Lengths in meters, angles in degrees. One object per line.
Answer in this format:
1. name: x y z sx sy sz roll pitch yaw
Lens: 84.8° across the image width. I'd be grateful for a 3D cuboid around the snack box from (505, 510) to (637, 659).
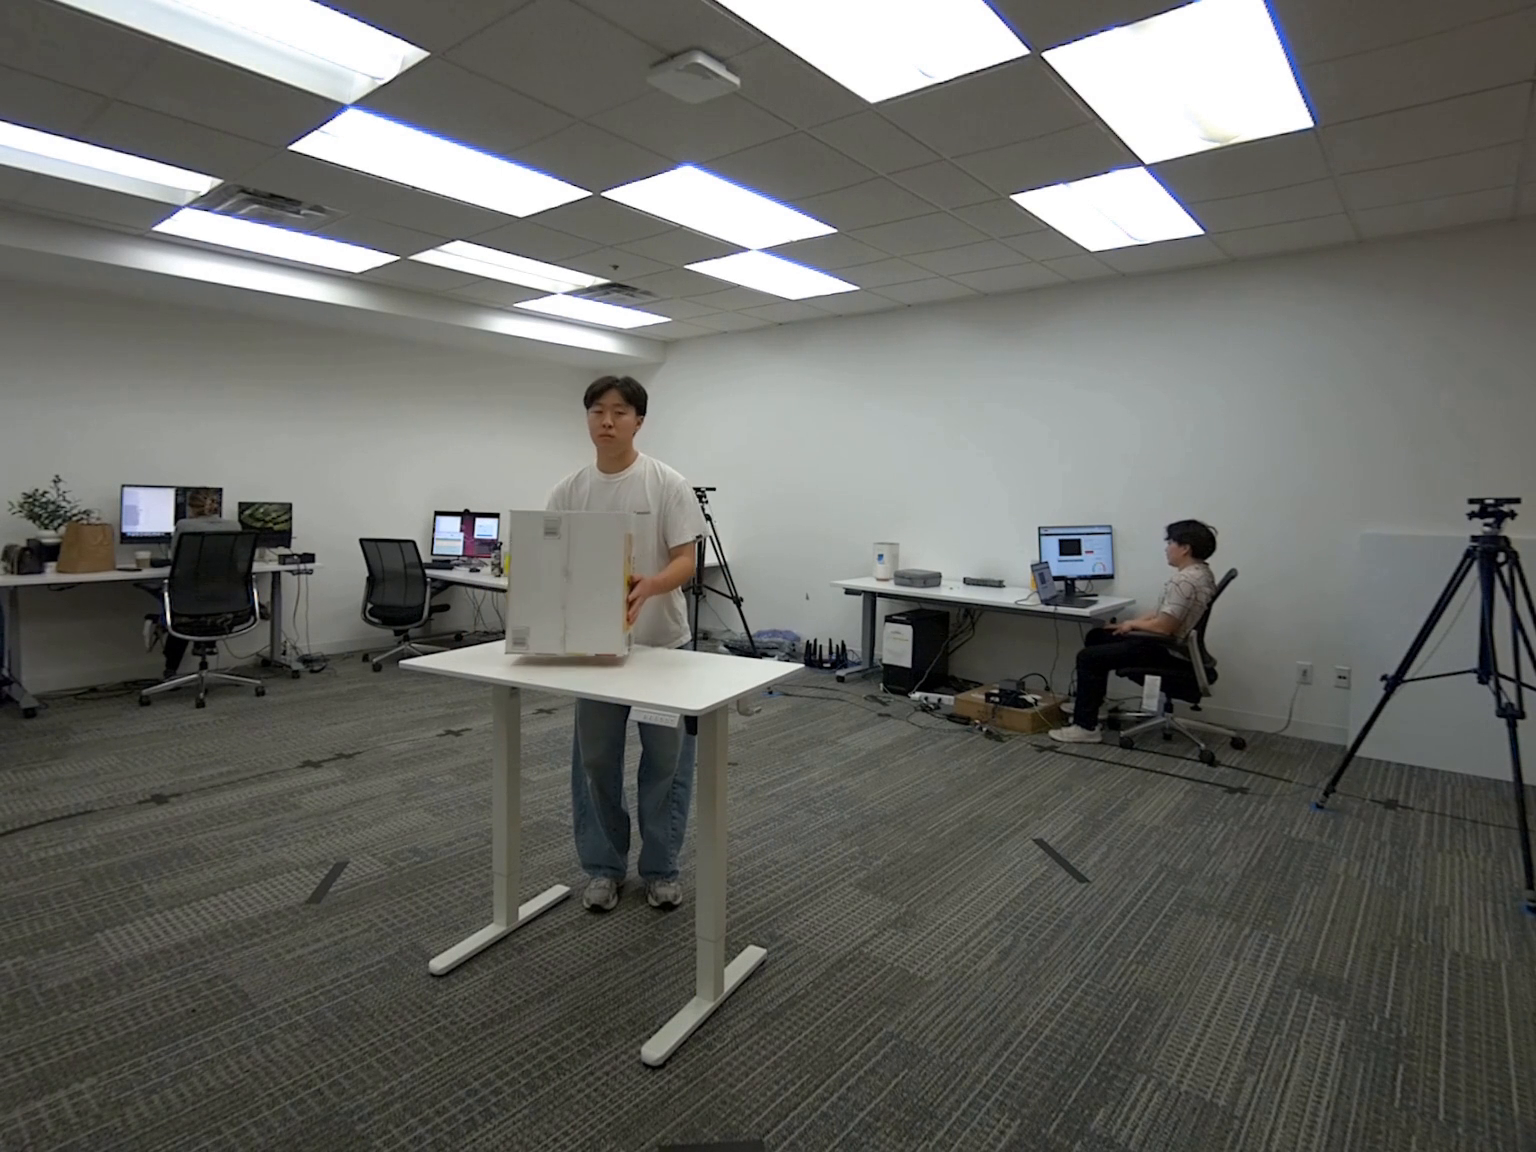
1. snack box: -0.570 0.011 2.471 0.340 0.406 0.205 1 -1 -1
